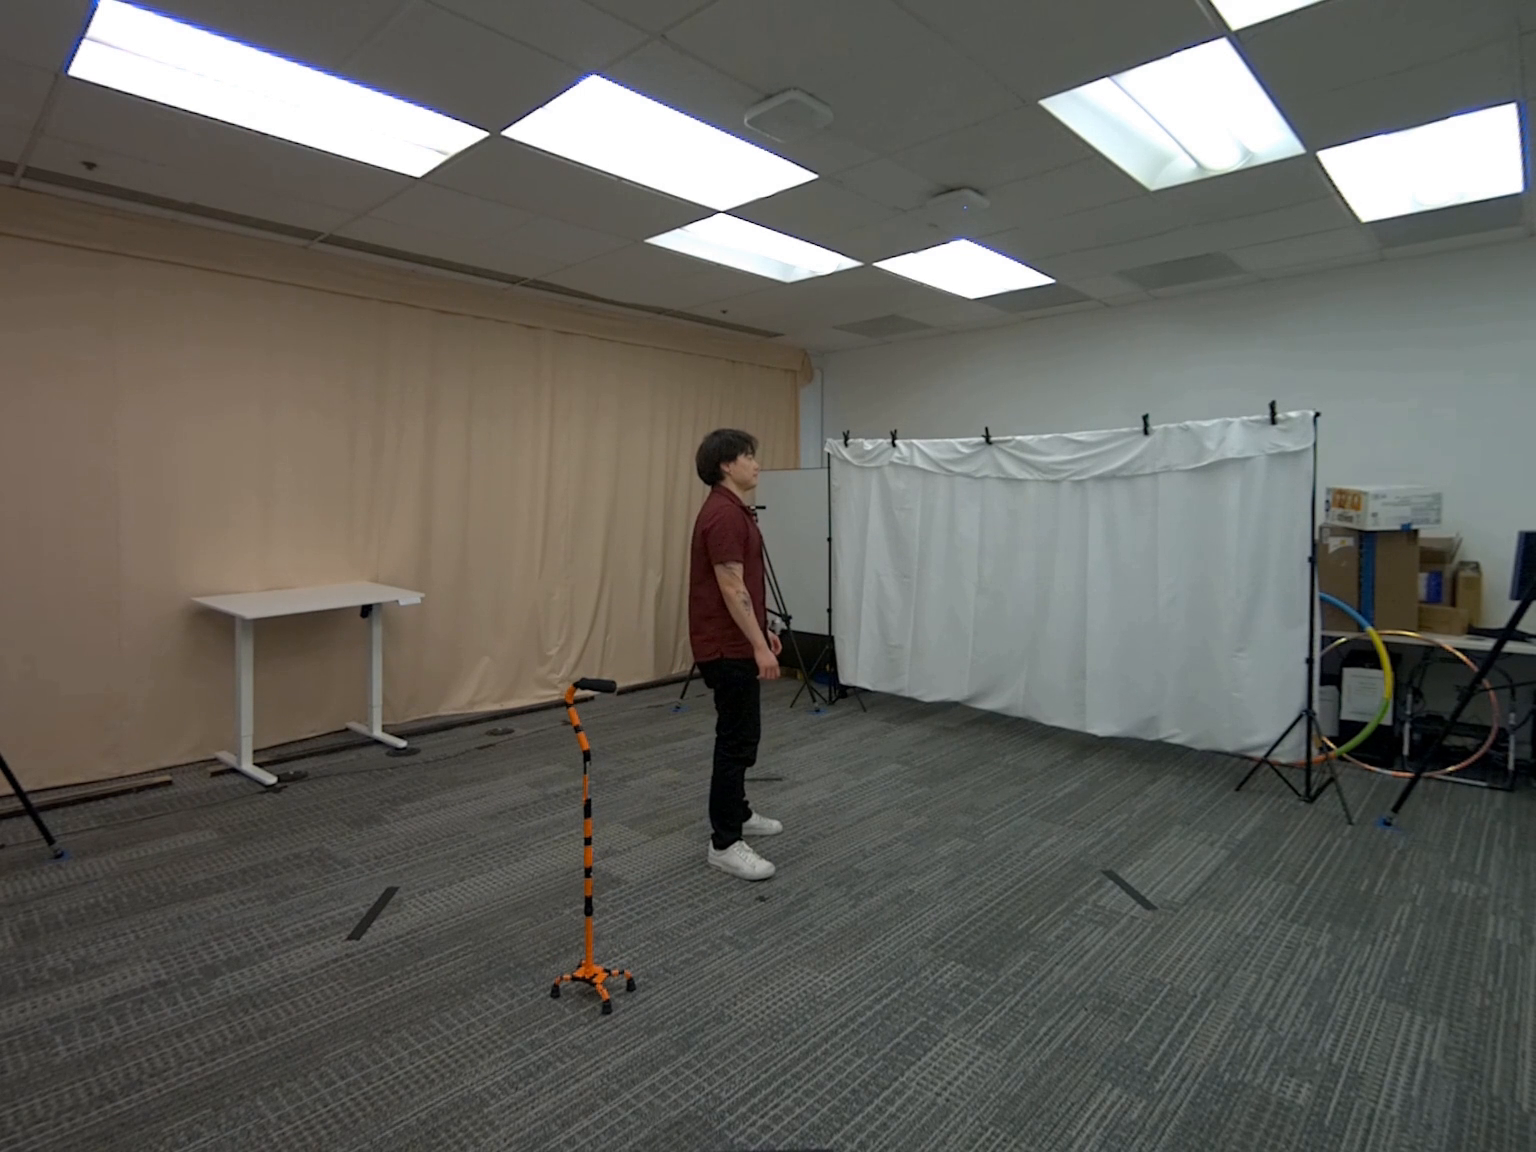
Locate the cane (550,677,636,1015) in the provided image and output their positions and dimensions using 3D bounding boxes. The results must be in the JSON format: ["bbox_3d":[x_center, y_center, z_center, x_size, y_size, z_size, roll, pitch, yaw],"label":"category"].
[{"bbox_3d":[-0.506,0.744,2.394,0.212,0.906,0.148,0,3,25],"label":"cane"}]
